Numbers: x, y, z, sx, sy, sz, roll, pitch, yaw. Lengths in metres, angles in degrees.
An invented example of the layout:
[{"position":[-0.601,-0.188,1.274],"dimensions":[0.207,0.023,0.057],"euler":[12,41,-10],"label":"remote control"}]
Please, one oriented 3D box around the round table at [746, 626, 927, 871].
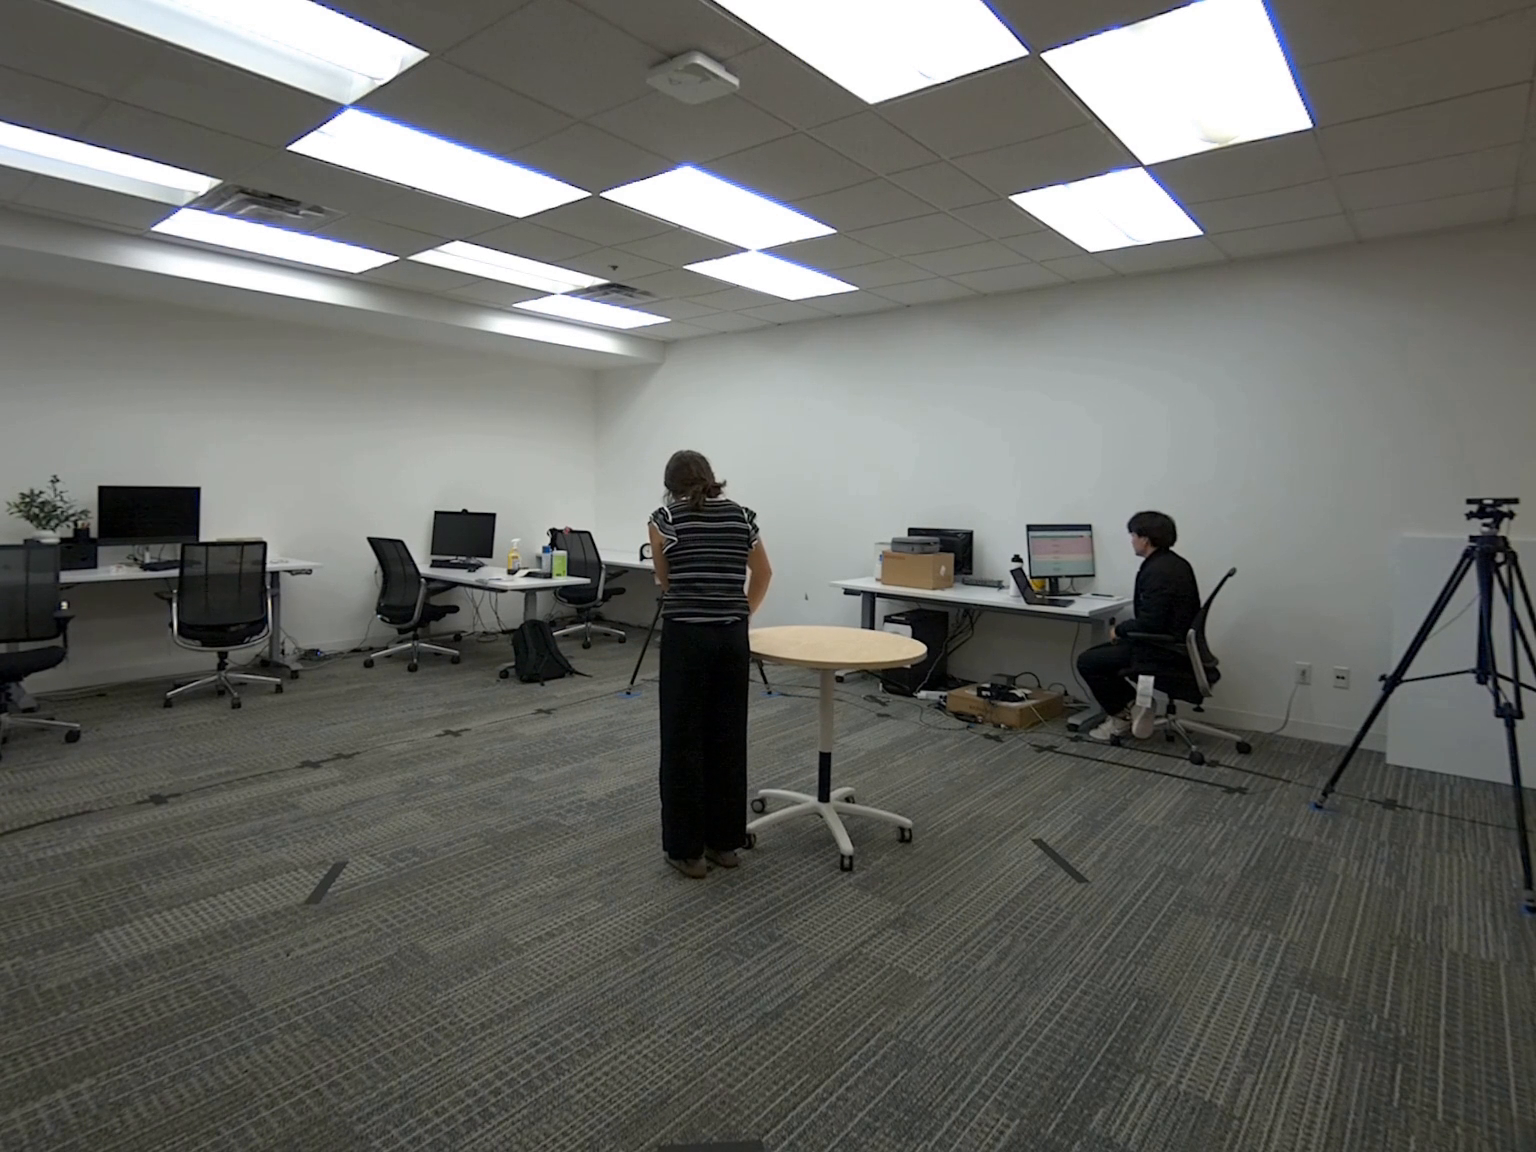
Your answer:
[{"position":[0.207,0.650,3.417],"dimensions":[0.784,0.784,0.789],"euler":[2,4,-2],"label":"round table"}]
